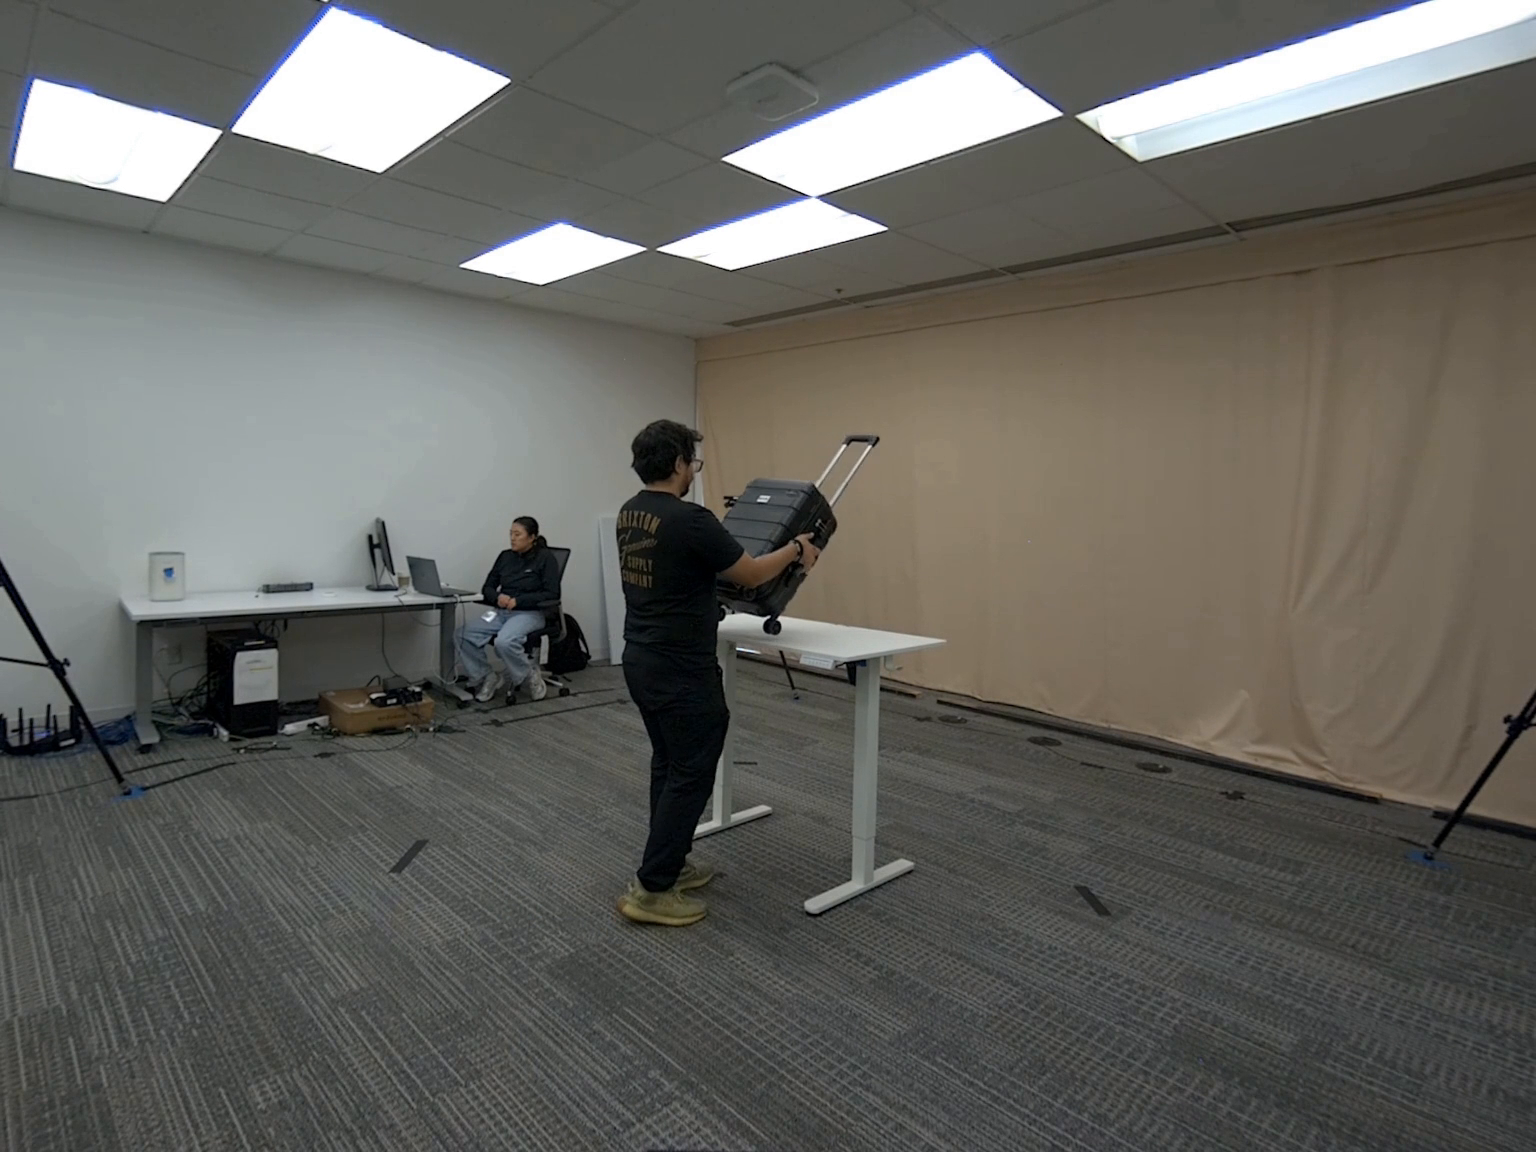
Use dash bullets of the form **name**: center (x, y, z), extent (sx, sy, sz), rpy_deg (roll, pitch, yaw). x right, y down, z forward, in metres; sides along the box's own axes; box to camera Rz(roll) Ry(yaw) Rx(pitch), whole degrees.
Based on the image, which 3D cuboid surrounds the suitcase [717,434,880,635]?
- **suitcase**: center (0.090, -0.261, 3.211), extent (0.394, 0.982, 0.249), rpy_deg (8, -32, 45)
